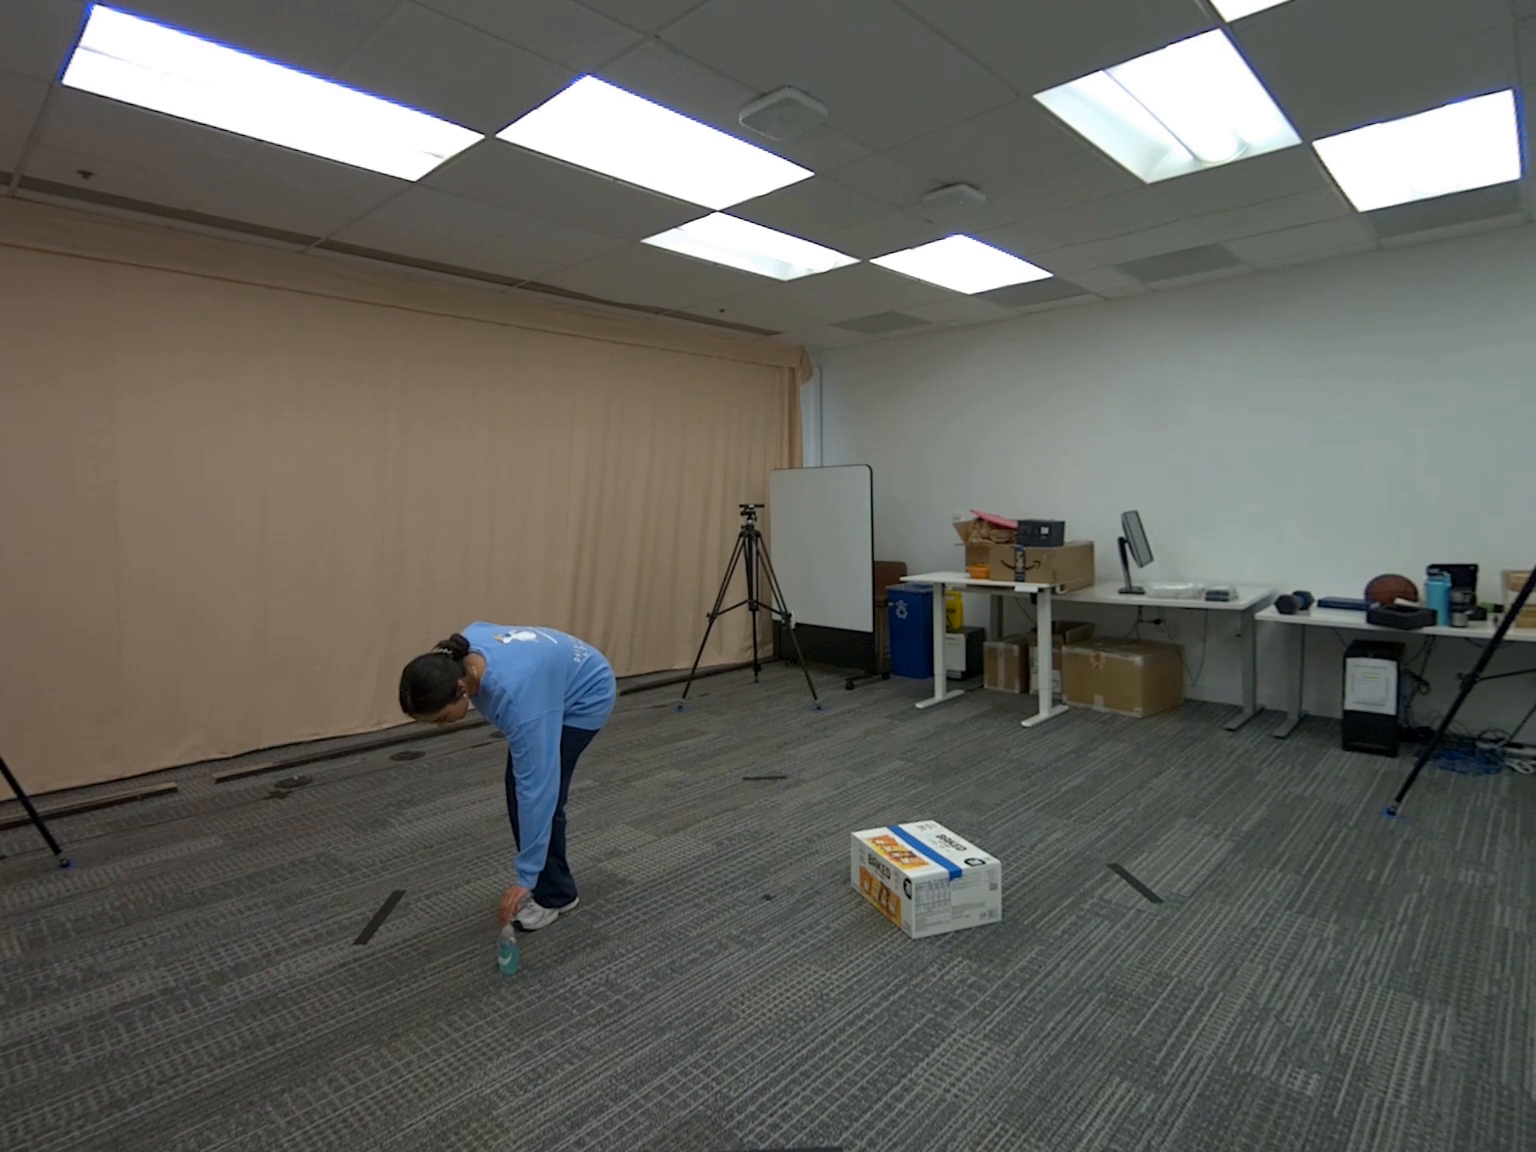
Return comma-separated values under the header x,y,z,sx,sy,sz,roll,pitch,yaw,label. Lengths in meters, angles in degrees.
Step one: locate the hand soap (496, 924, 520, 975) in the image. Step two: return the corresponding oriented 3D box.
x,y,z,sx,sy,sz,roll,pitch,yaw,label
-0.783,1.103,2.550,0.087,0.168,0.042,2,2,39,hand soap
